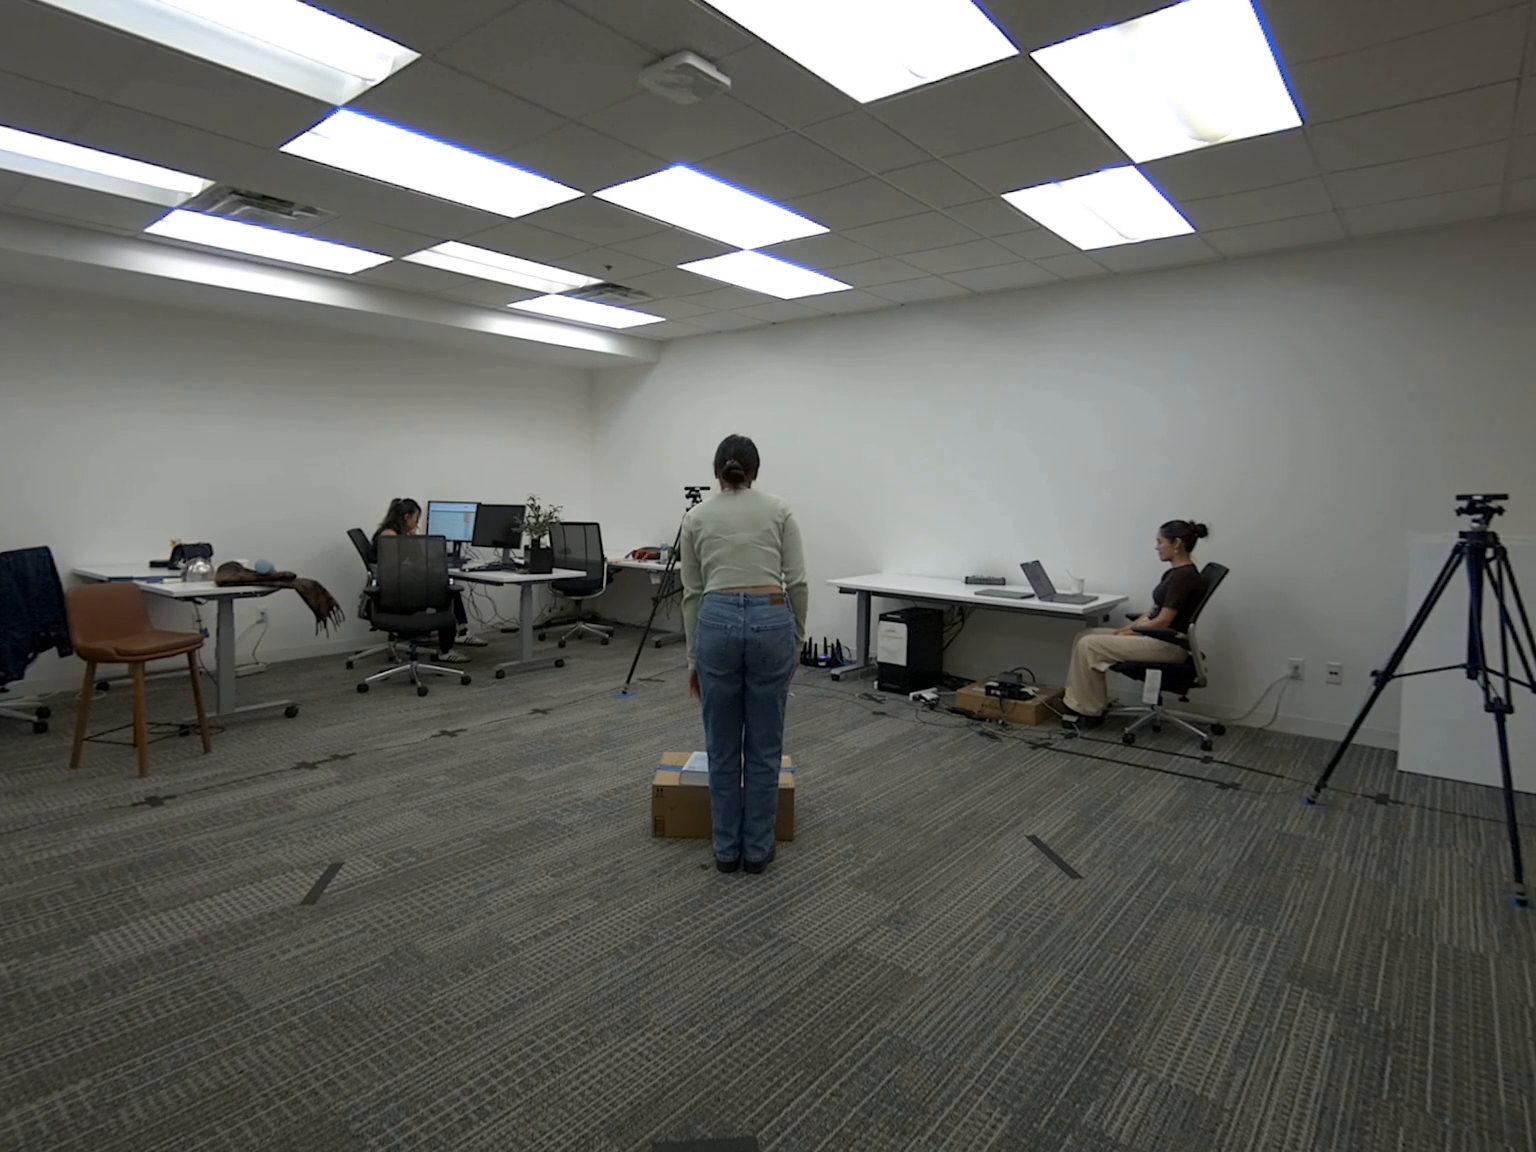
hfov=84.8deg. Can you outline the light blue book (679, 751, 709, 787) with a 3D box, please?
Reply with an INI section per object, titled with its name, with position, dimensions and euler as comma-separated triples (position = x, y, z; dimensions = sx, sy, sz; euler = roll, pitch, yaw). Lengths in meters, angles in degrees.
[light blue book]
position = -0.253, 0.783, 3.485
dimensions = 0.193, 0.059, 0.259
euler = 3, 4, 7
